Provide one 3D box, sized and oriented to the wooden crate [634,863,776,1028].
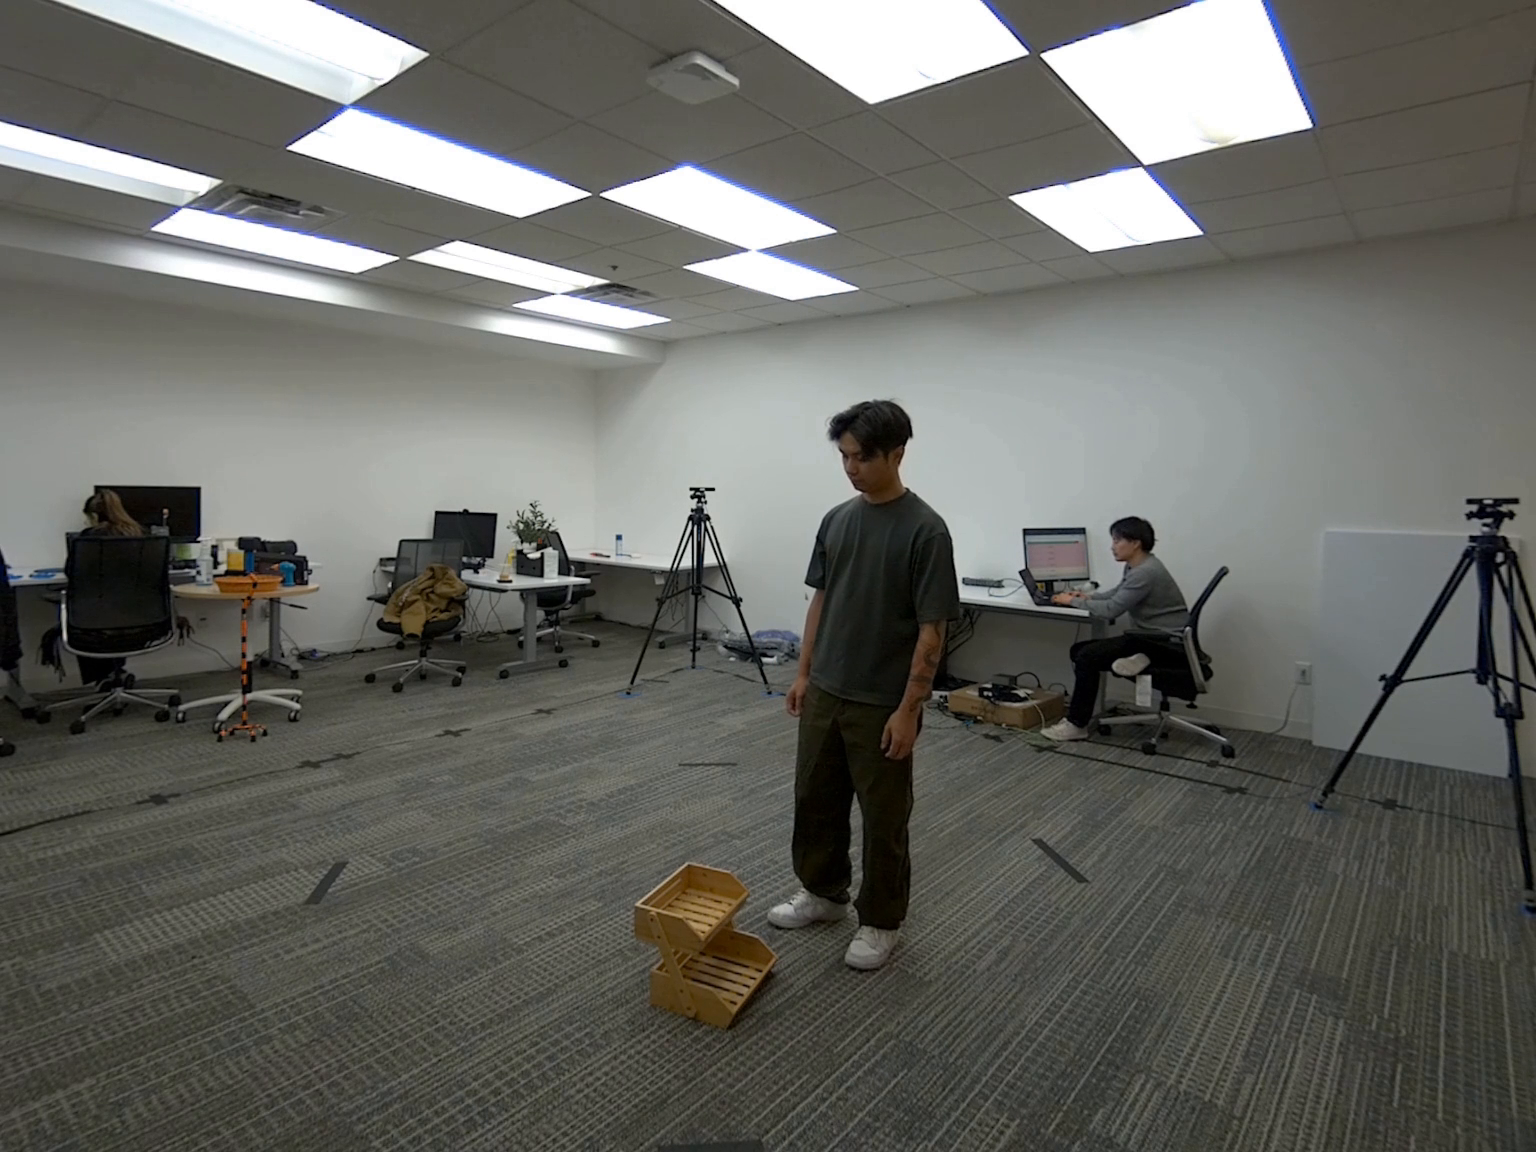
[{"bbox_3d":[-0.170,1.009,2.368,0.310,0.272,0.317,3,5,25],"label":"wooden crate"}]
